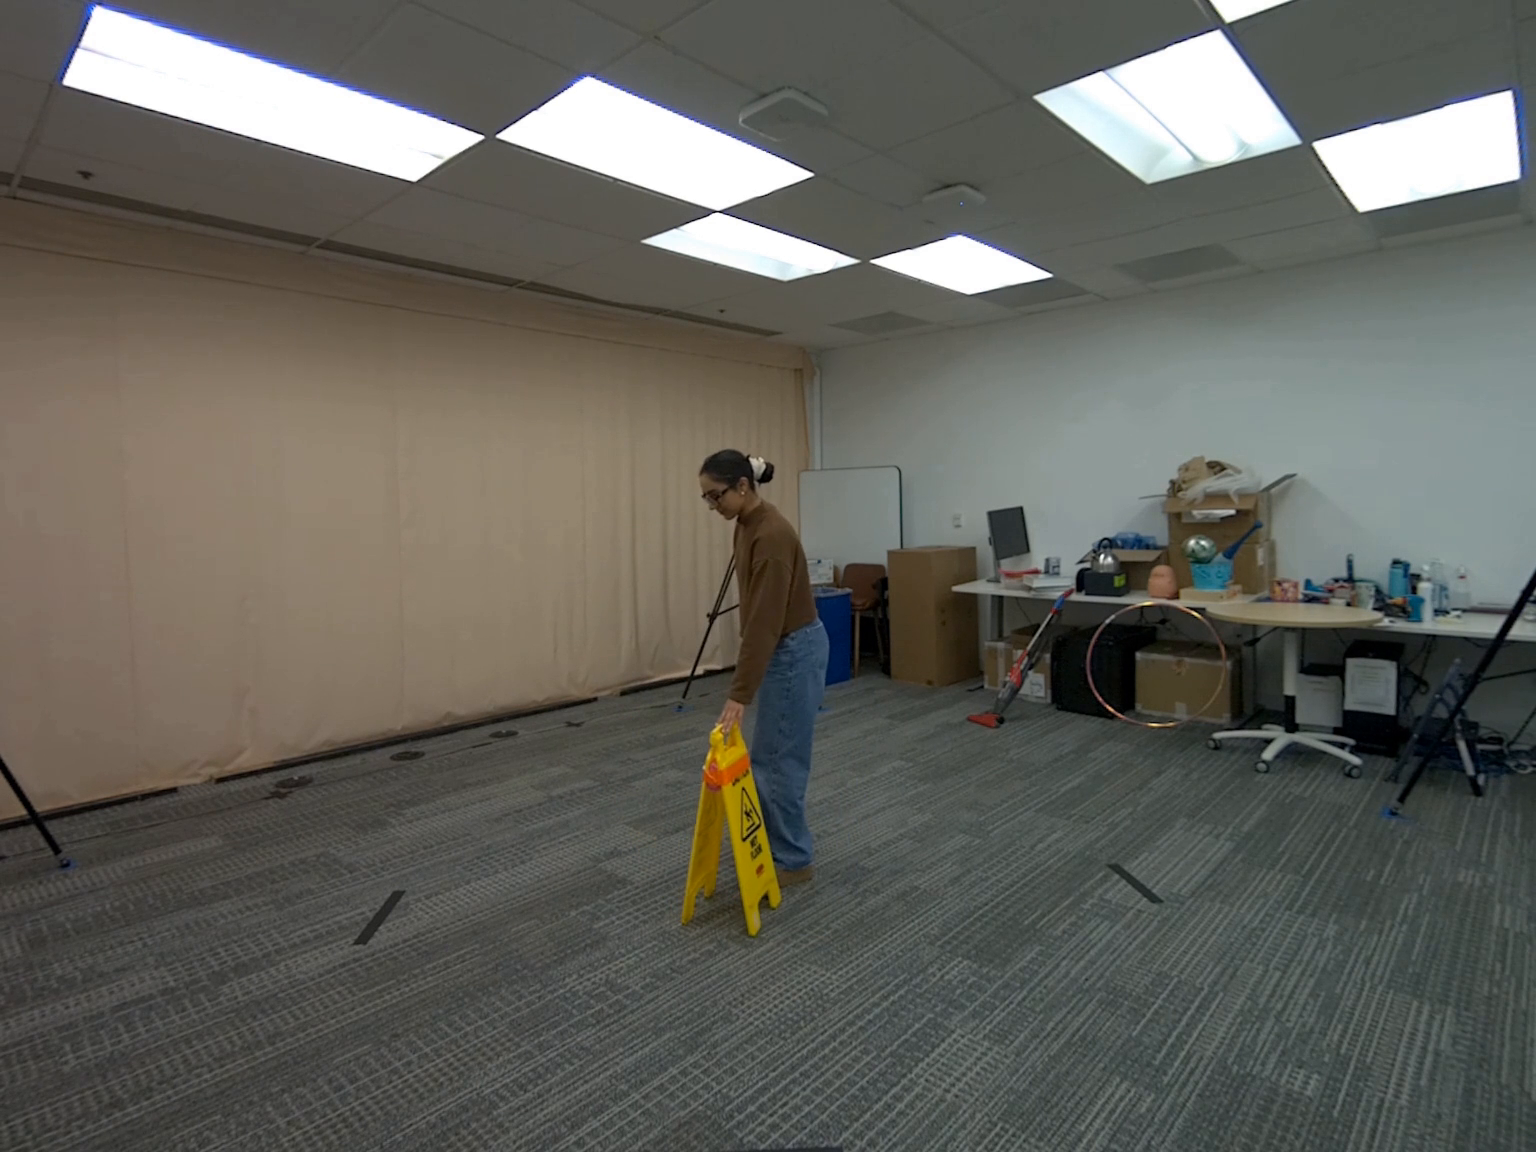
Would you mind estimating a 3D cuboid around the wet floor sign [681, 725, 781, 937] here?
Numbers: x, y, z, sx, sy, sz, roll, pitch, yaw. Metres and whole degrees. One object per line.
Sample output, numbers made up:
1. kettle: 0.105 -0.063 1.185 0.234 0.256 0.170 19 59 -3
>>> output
1. wet floor sign: -0.140 0.825 2.862 0.296 0.645 0.276 -2 1 21
